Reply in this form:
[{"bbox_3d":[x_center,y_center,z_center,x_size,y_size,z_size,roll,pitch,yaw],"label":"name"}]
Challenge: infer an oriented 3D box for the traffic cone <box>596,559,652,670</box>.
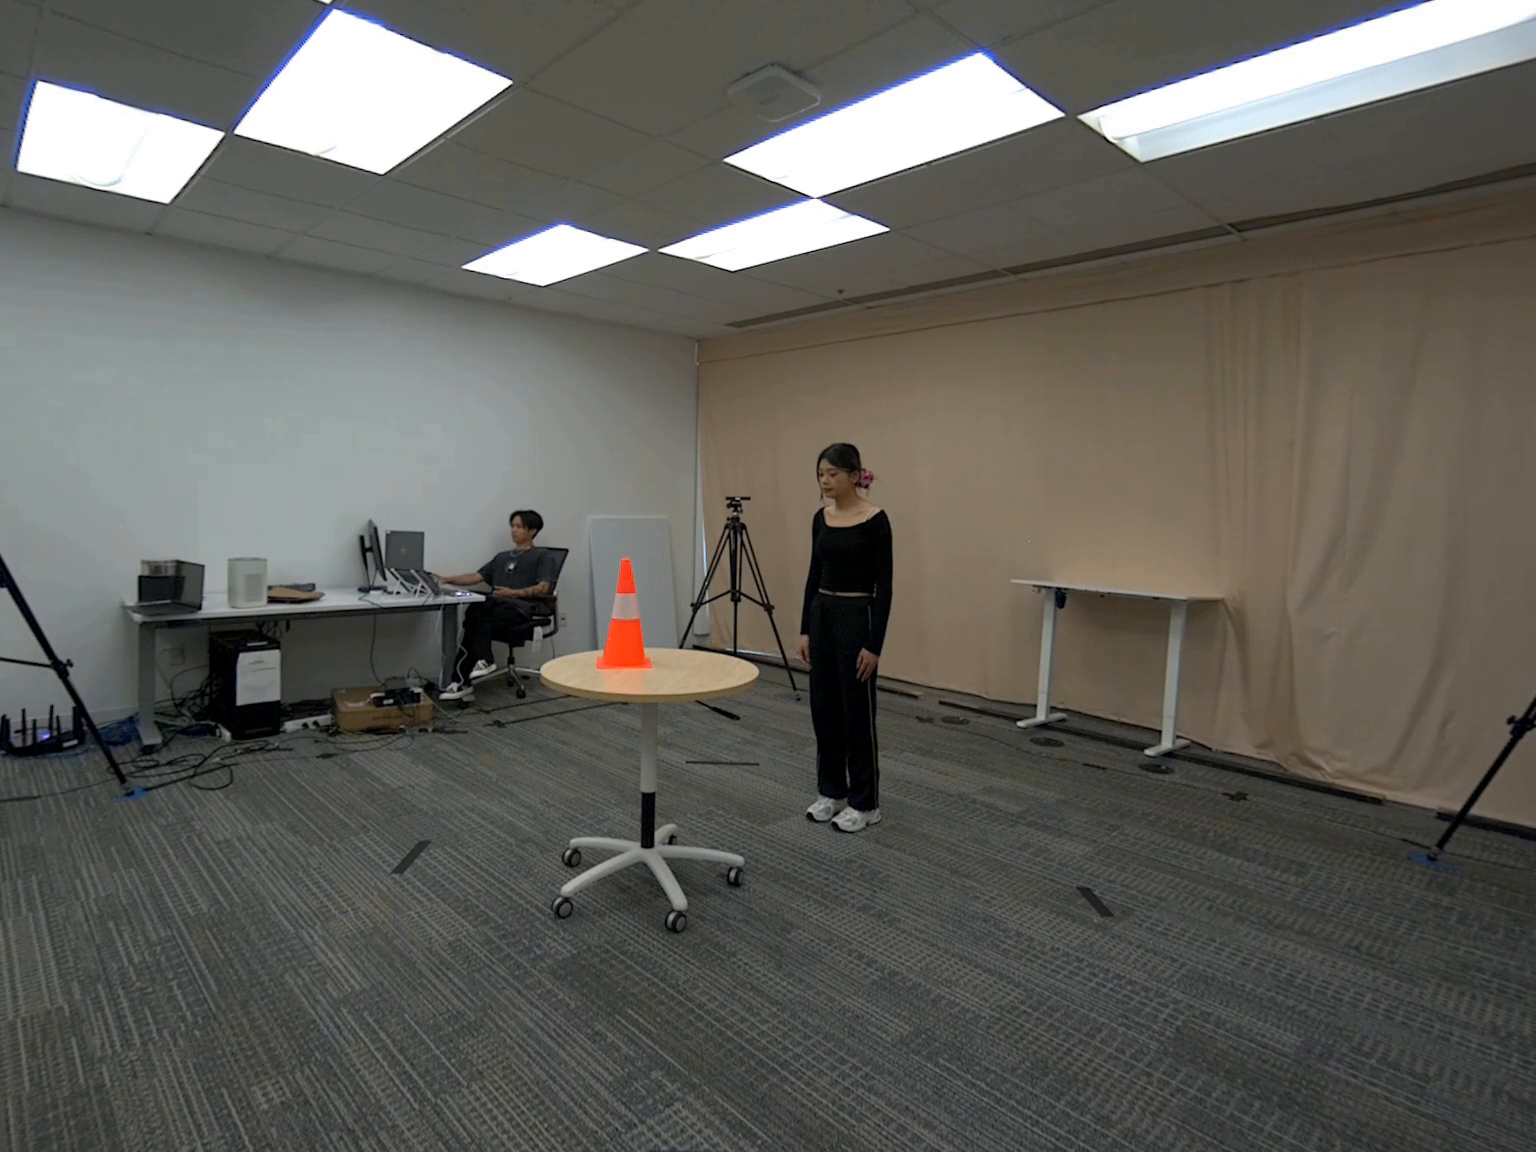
[{"bbox_3d":[-0.522,0.131,3.037,0.201,0.382,0.208,1,5,-15],"label":"traffic cone"}]
